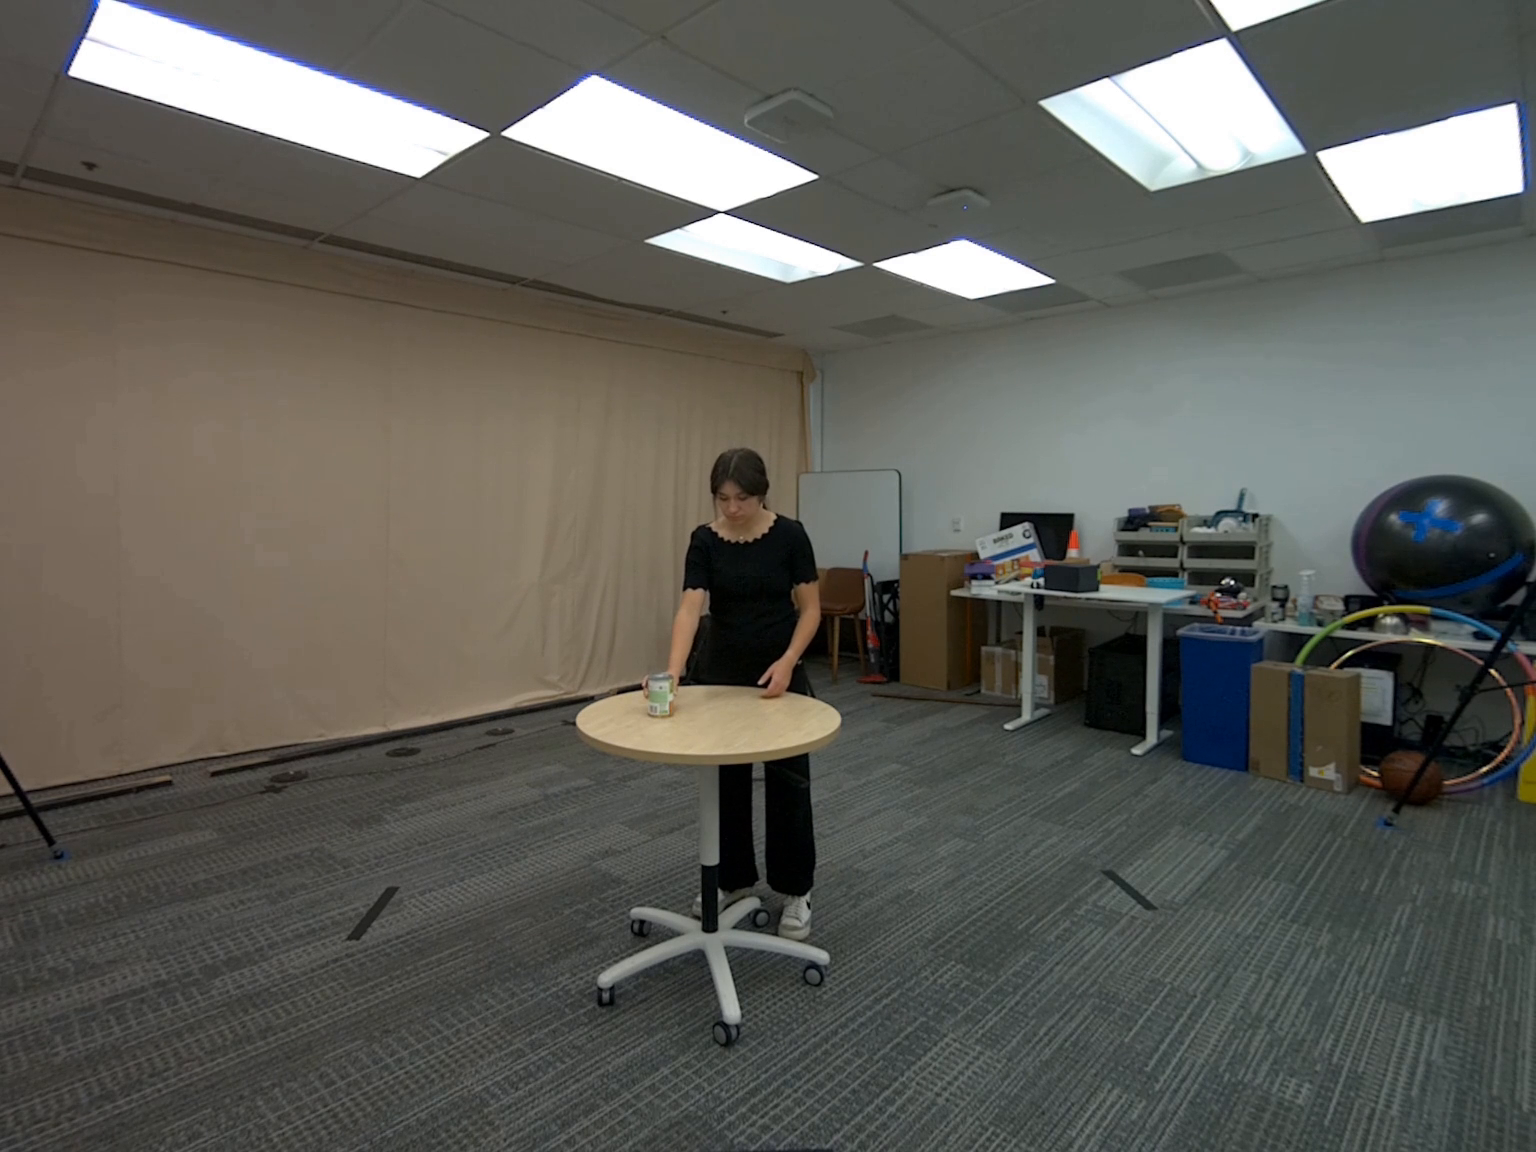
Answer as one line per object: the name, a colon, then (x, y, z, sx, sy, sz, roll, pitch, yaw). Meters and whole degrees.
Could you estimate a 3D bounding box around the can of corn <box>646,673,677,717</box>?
can of corn: (-0.314, 0.352, 2.447, 0.074, 0.111, 0.074, -1, 2, -2)
